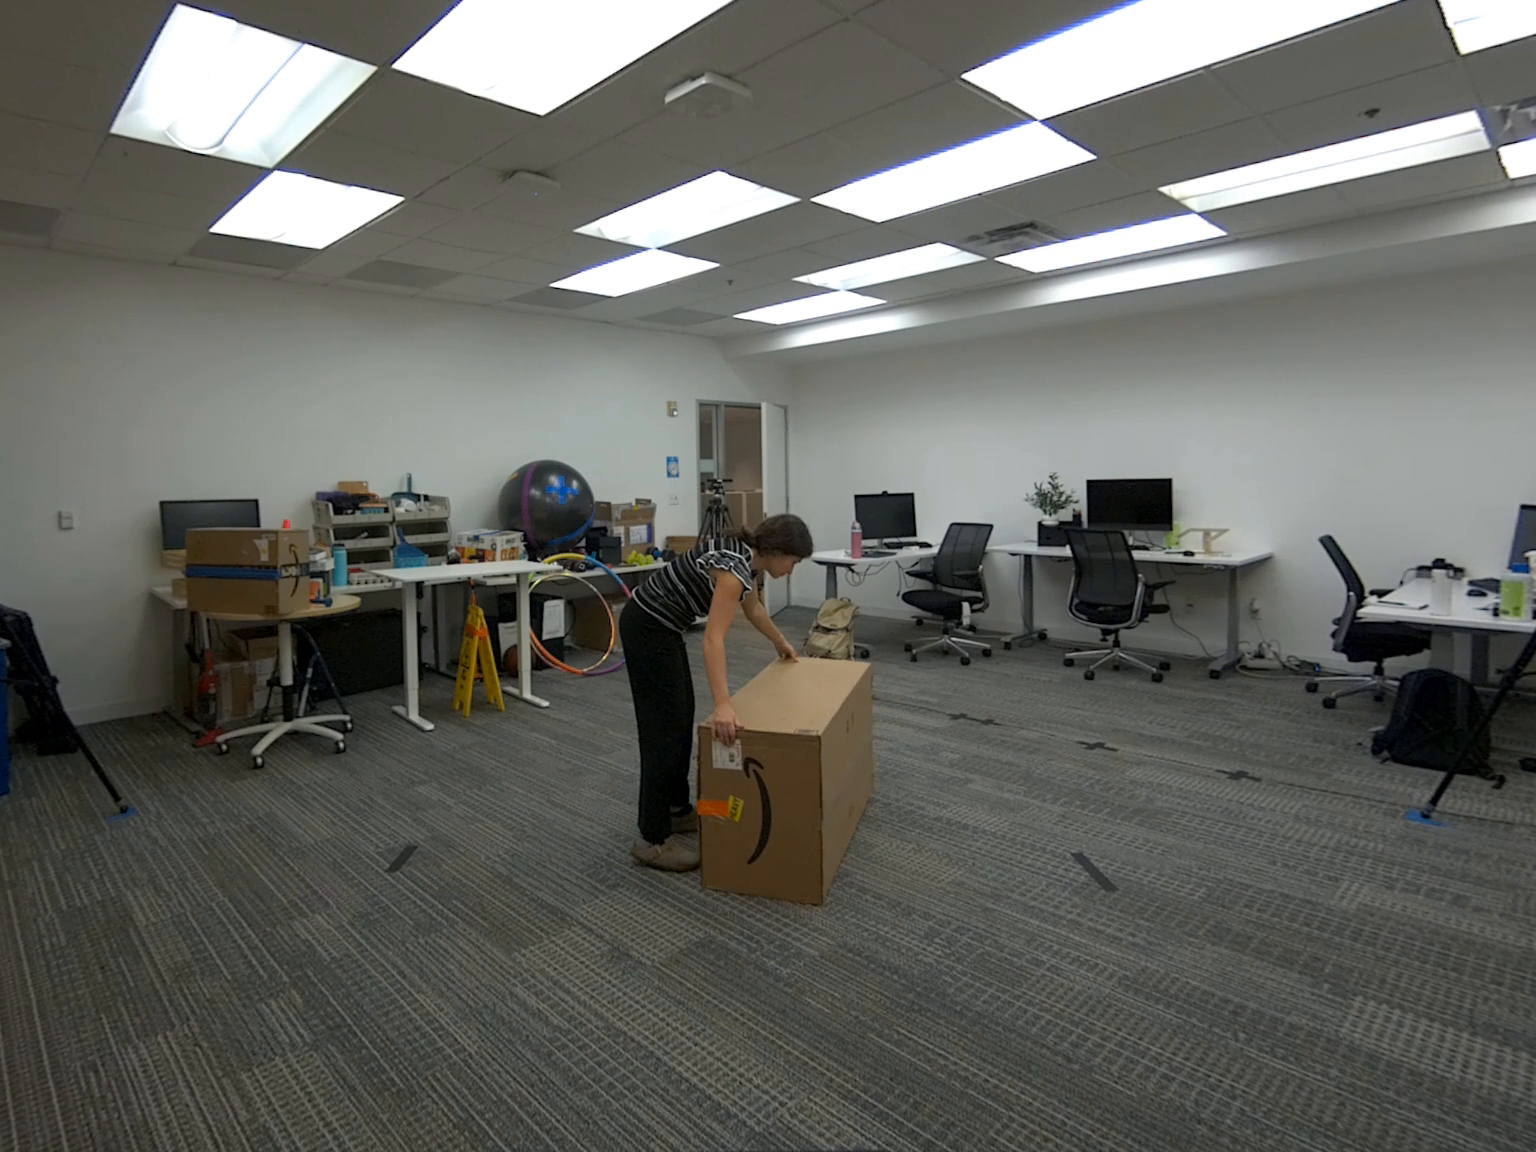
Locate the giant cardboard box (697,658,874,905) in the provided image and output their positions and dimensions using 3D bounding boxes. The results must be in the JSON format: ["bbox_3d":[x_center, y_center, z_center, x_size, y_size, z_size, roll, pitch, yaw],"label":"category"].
[{"bbox_3d":[0.114,0.717,3.312,0.433,0.574,1.014,0,7,17],"label":"giant cardboard box"}]
